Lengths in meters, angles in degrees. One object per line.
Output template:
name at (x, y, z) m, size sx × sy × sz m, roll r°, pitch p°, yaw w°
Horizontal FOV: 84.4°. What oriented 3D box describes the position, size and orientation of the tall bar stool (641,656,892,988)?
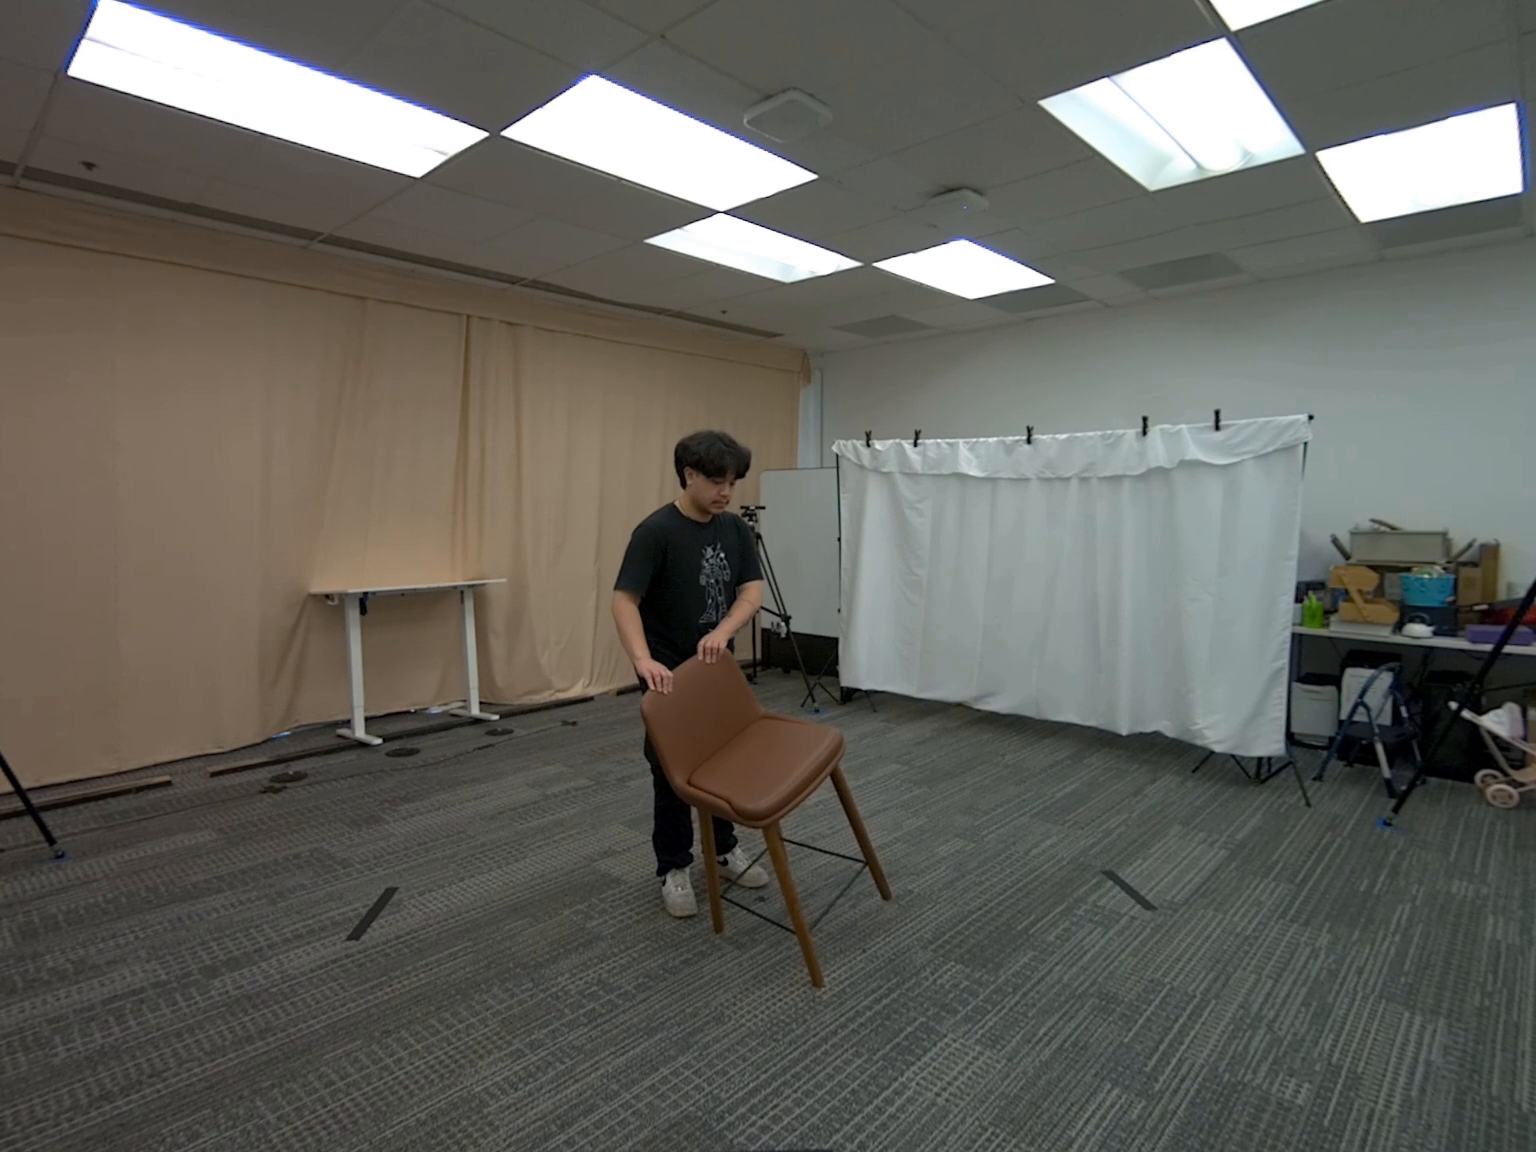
tall bar stool at (-0.002, 0.703, 2.599) m, size 0.483 × 0.878 × 0.448 m, roll -1°, pitch 22°, yaw 44°
